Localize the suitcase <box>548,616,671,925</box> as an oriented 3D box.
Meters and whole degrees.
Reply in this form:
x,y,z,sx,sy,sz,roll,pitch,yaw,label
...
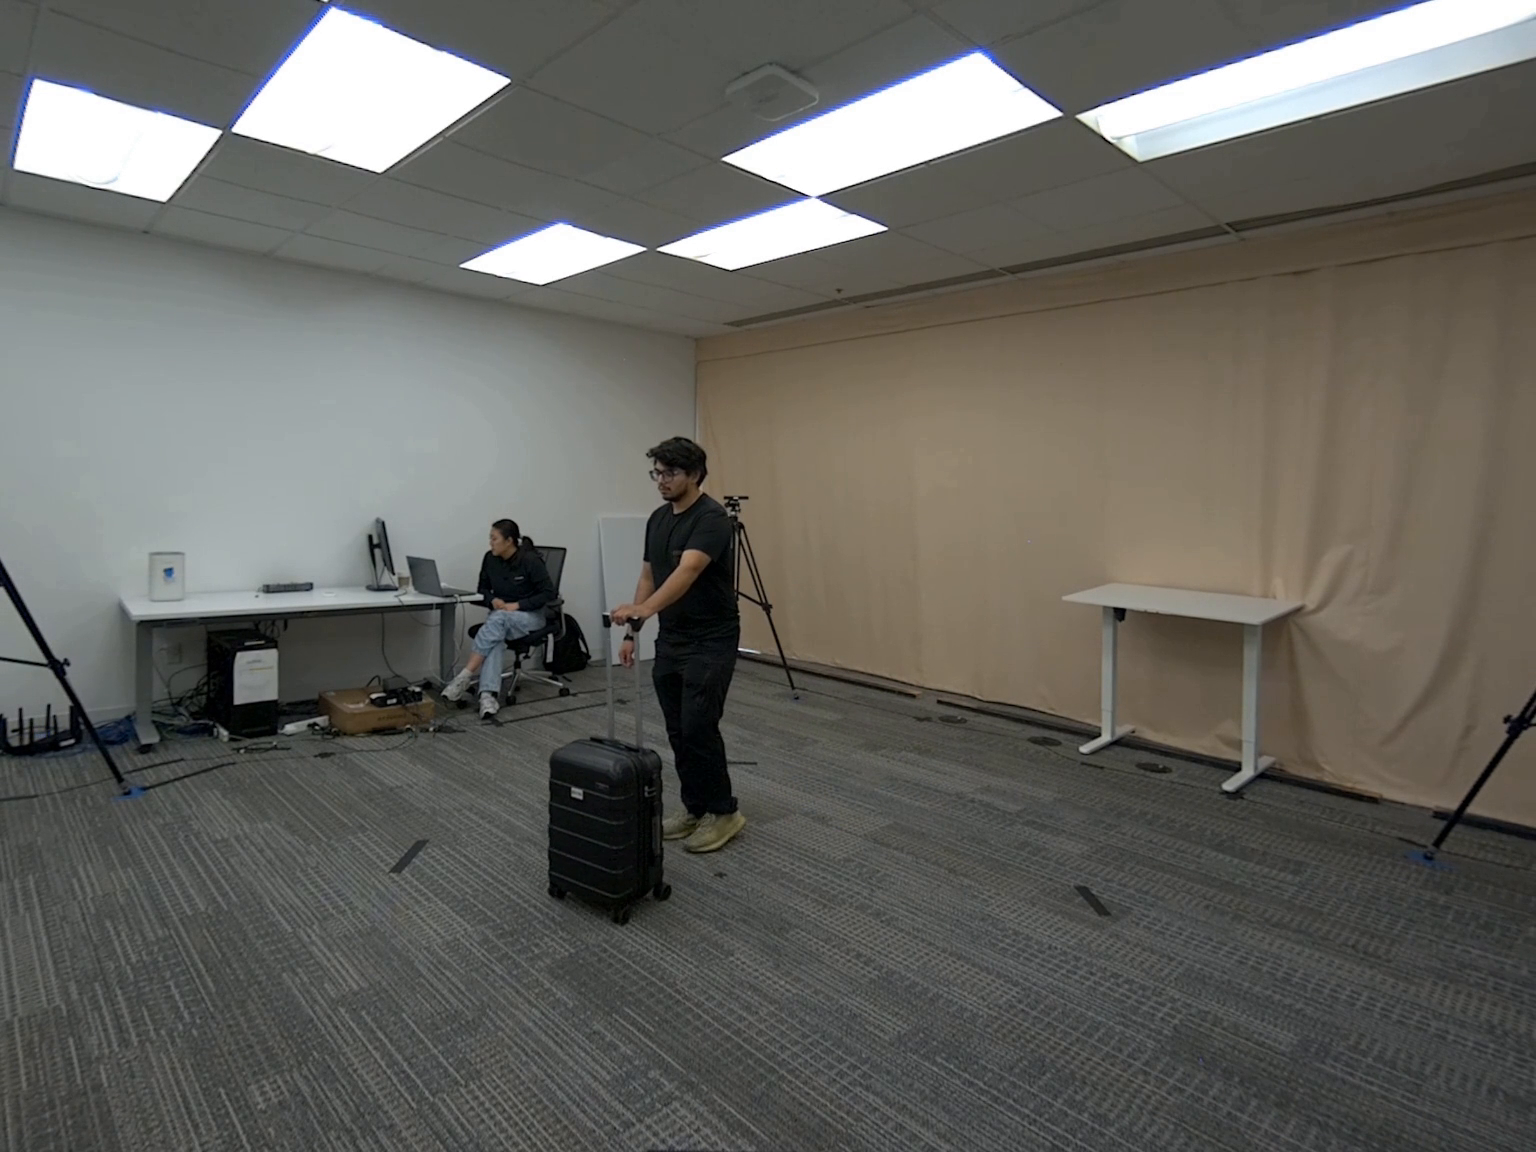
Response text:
x,y,z,sx,sy,sz,roll,pitch,yaw,label
-0.562,0.648,2.842,0.393,0.973,0.252,5,9,33,suitcase
